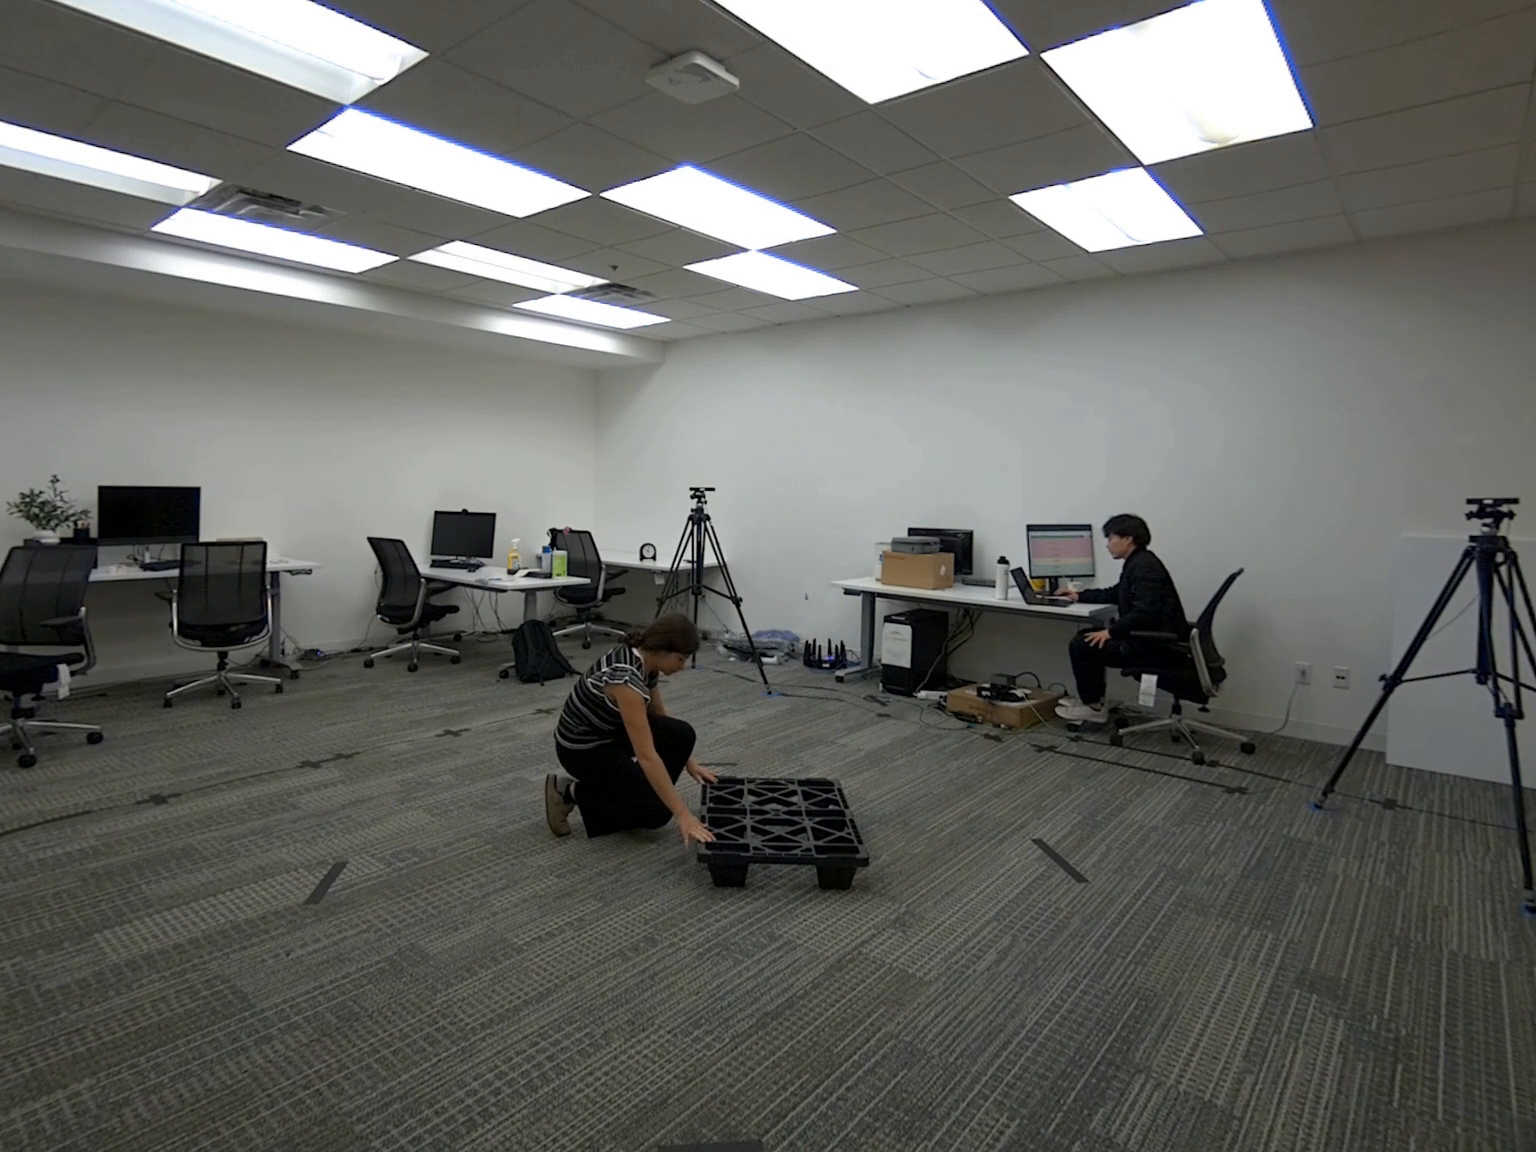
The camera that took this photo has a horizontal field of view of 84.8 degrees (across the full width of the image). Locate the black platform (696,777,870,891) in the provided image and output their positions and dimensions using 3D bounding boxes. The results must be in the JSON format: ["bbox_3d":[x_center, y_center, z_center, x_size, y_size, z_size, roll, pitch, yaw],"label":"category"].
[{"bbox_3d":[0.018,0.980,3.320,0.605,0.143,0.809,1,6,-2],"label":"black platform"}]
